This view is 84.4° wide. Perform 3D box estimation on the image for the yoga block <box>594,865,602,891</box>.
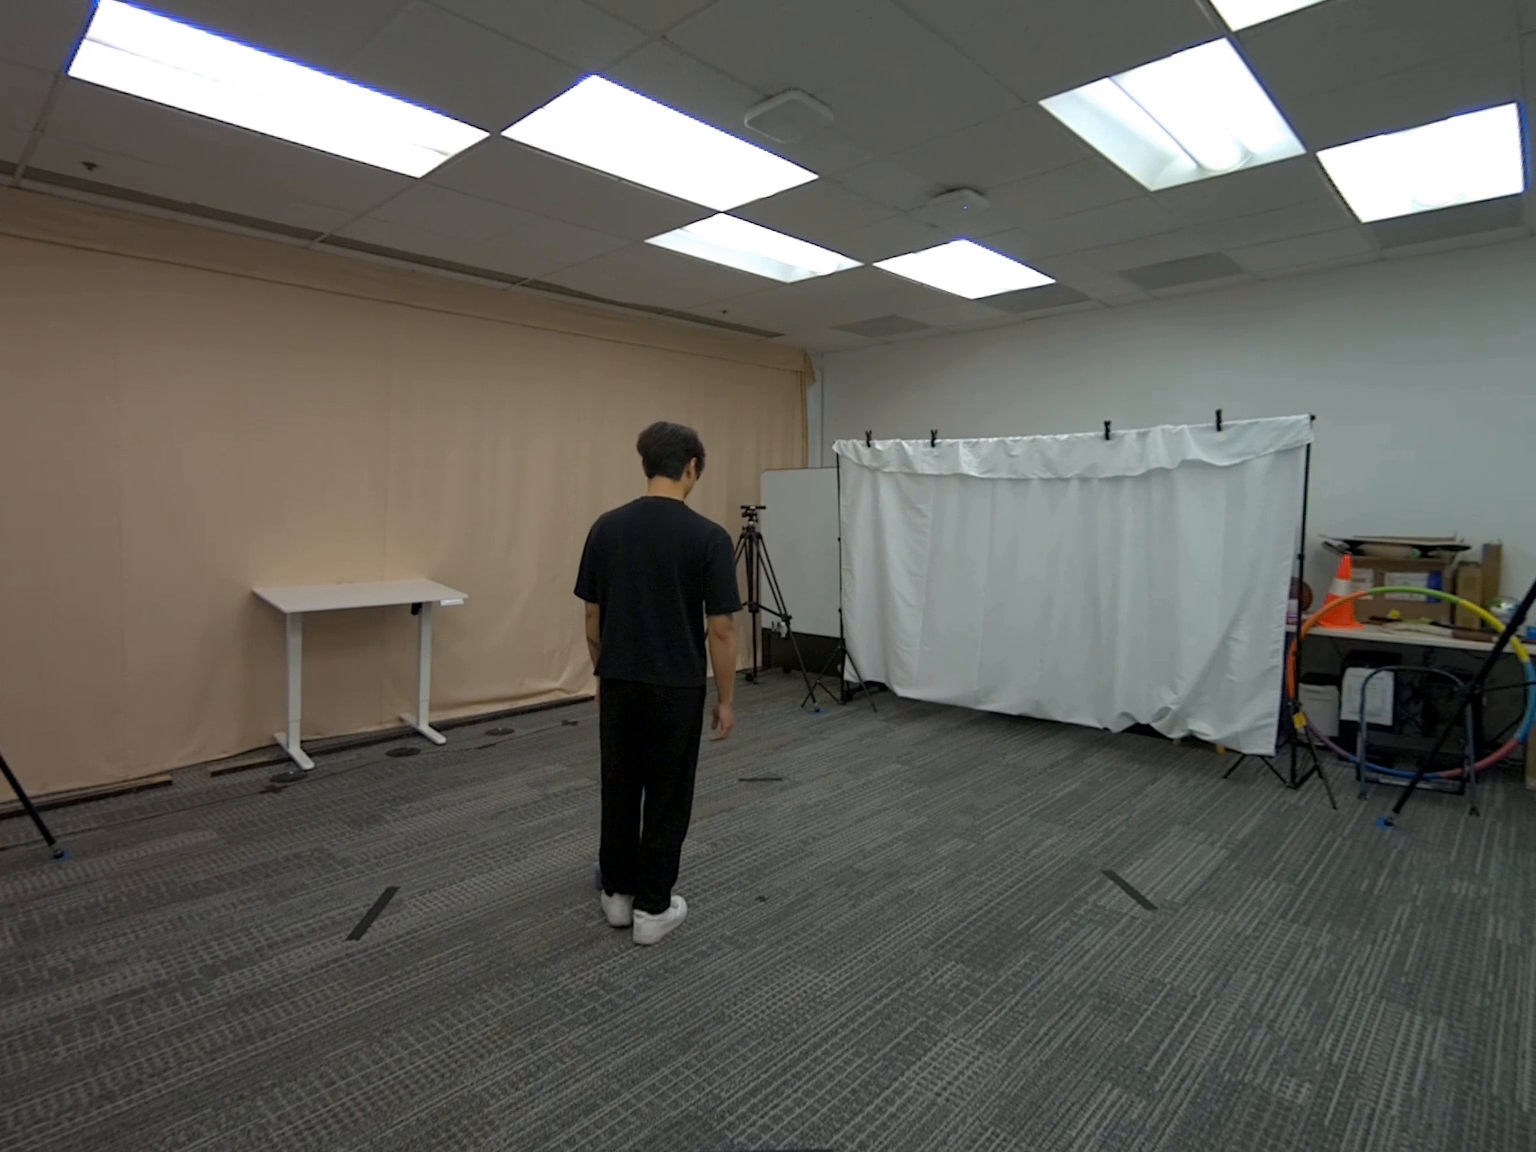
[{"bbox_3d":[-0.505,1.099,3.091,0.233,0.076,0.146,1,3,17],"label":"yoga block"}]
